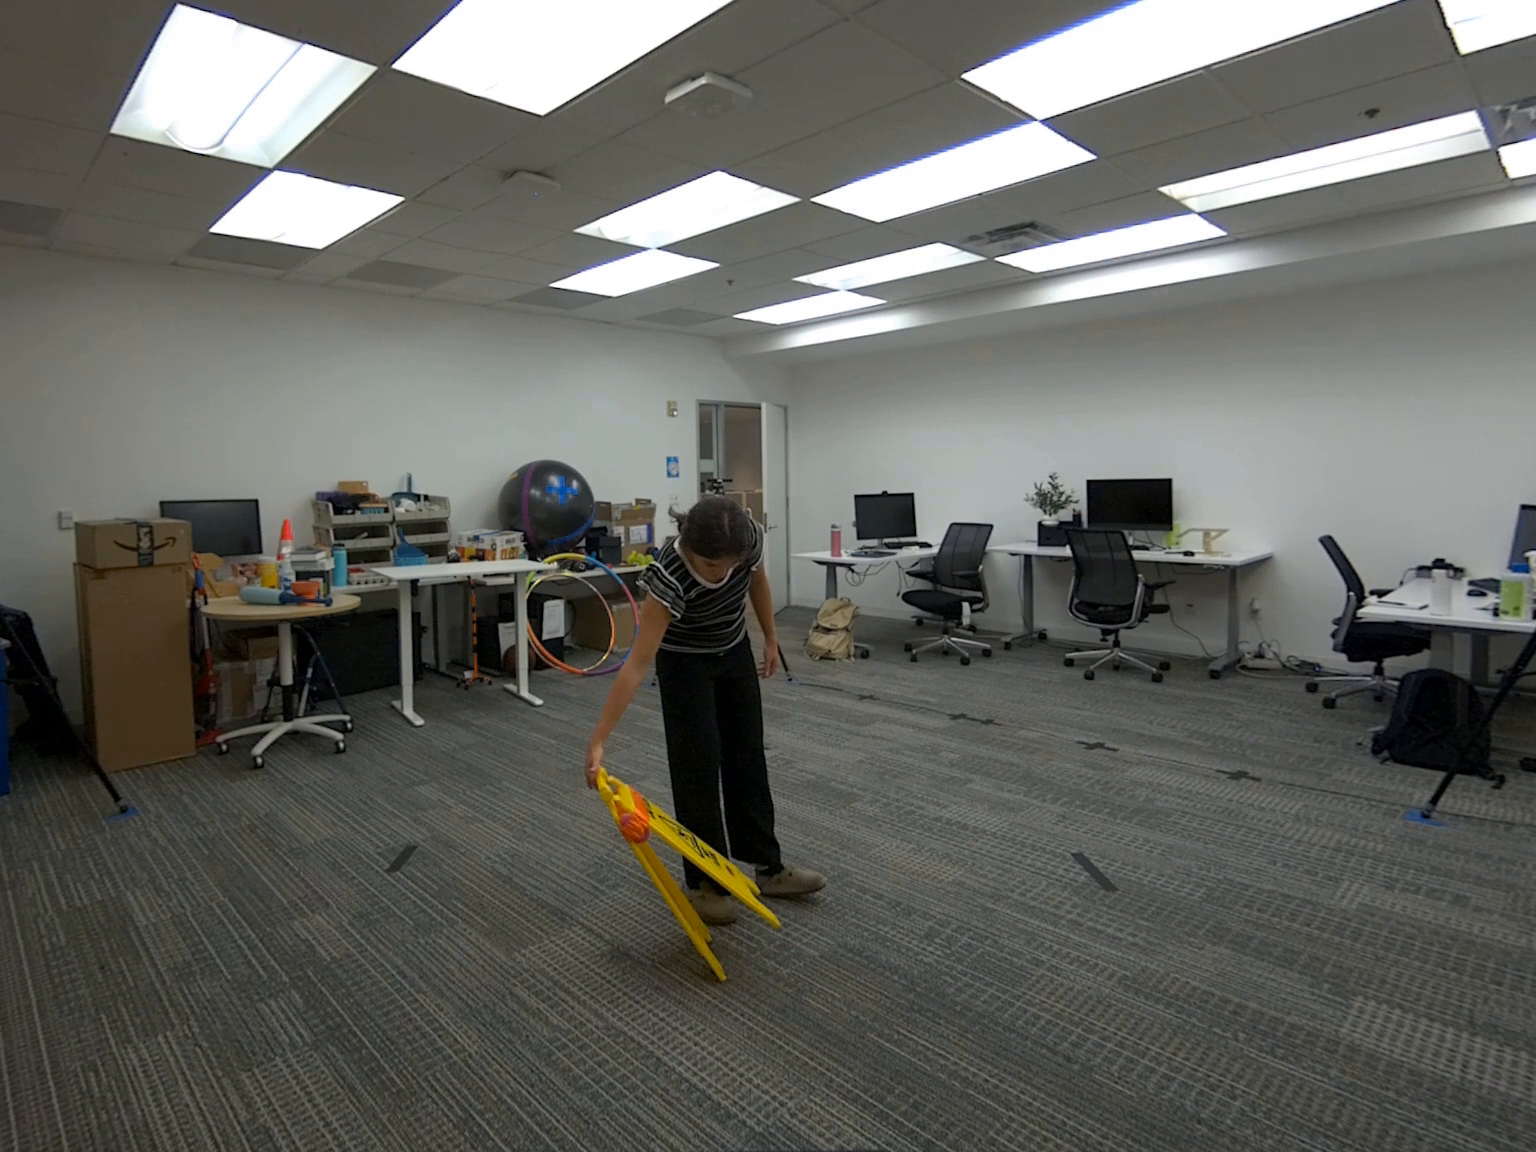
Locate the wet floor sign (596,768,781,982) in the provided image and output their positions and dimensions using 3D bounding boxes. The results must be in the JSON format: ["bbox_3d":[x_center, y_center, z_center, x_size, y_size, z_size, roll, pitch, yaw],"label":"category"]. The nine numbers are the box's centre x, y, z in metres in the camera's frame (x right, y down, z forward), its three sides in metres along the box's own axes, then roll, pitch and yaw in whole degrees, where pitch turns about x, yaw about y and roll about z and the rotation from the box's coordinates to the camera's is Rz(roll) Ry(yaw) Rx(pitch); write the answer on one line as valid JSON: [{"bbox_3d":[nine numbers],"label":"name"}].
[{"bbox_3d":[-0.277,0.811,2.465,0.289,0.637,0.287,-40,11,-9],"label":"wet floor sign"}]
